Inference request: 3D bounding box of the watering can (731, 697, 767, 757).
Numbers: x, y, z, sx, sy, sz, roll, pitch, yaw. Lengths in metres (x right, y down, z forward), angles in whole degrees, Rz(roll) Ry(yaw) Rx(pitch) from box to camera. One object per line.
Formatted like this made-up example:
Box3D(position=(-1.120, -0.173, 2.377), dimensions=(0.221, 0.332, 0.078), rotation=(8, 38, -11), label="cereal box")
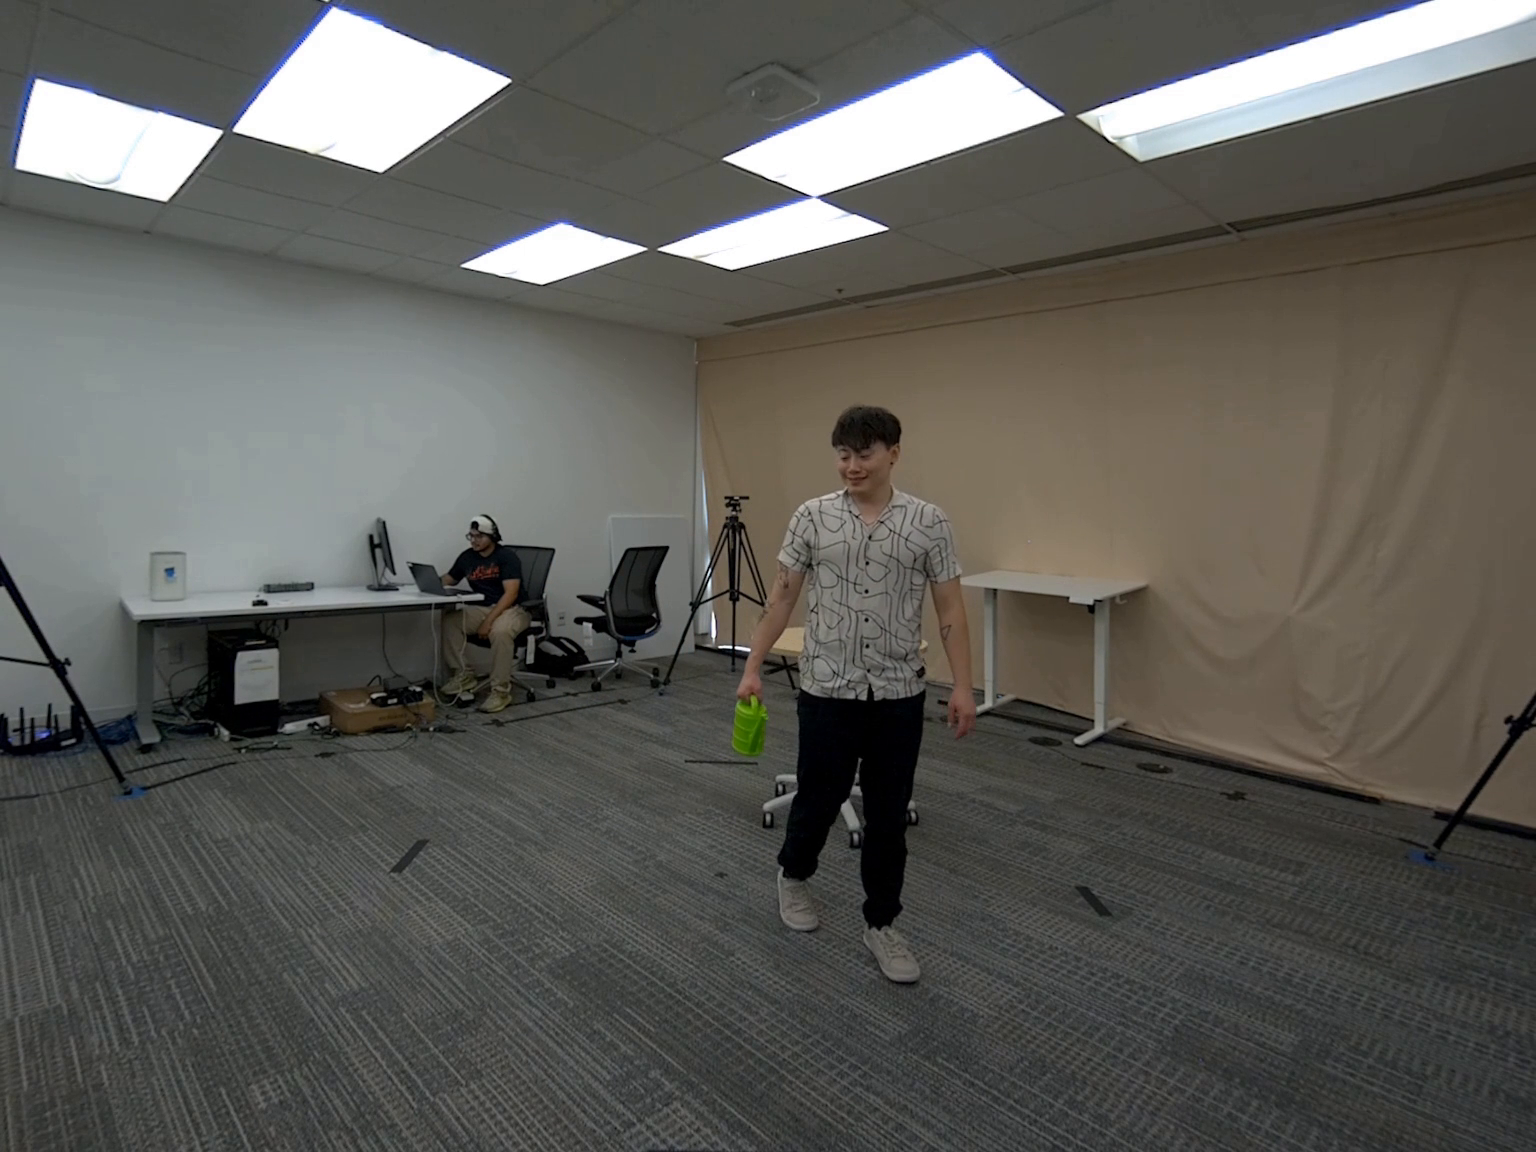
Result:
Box3D(position=(-0.047, 0.446, 2.498), dimensions=(0.098, 0.175, 0.281), rotation=(4, 10, -4), label="watering can")
